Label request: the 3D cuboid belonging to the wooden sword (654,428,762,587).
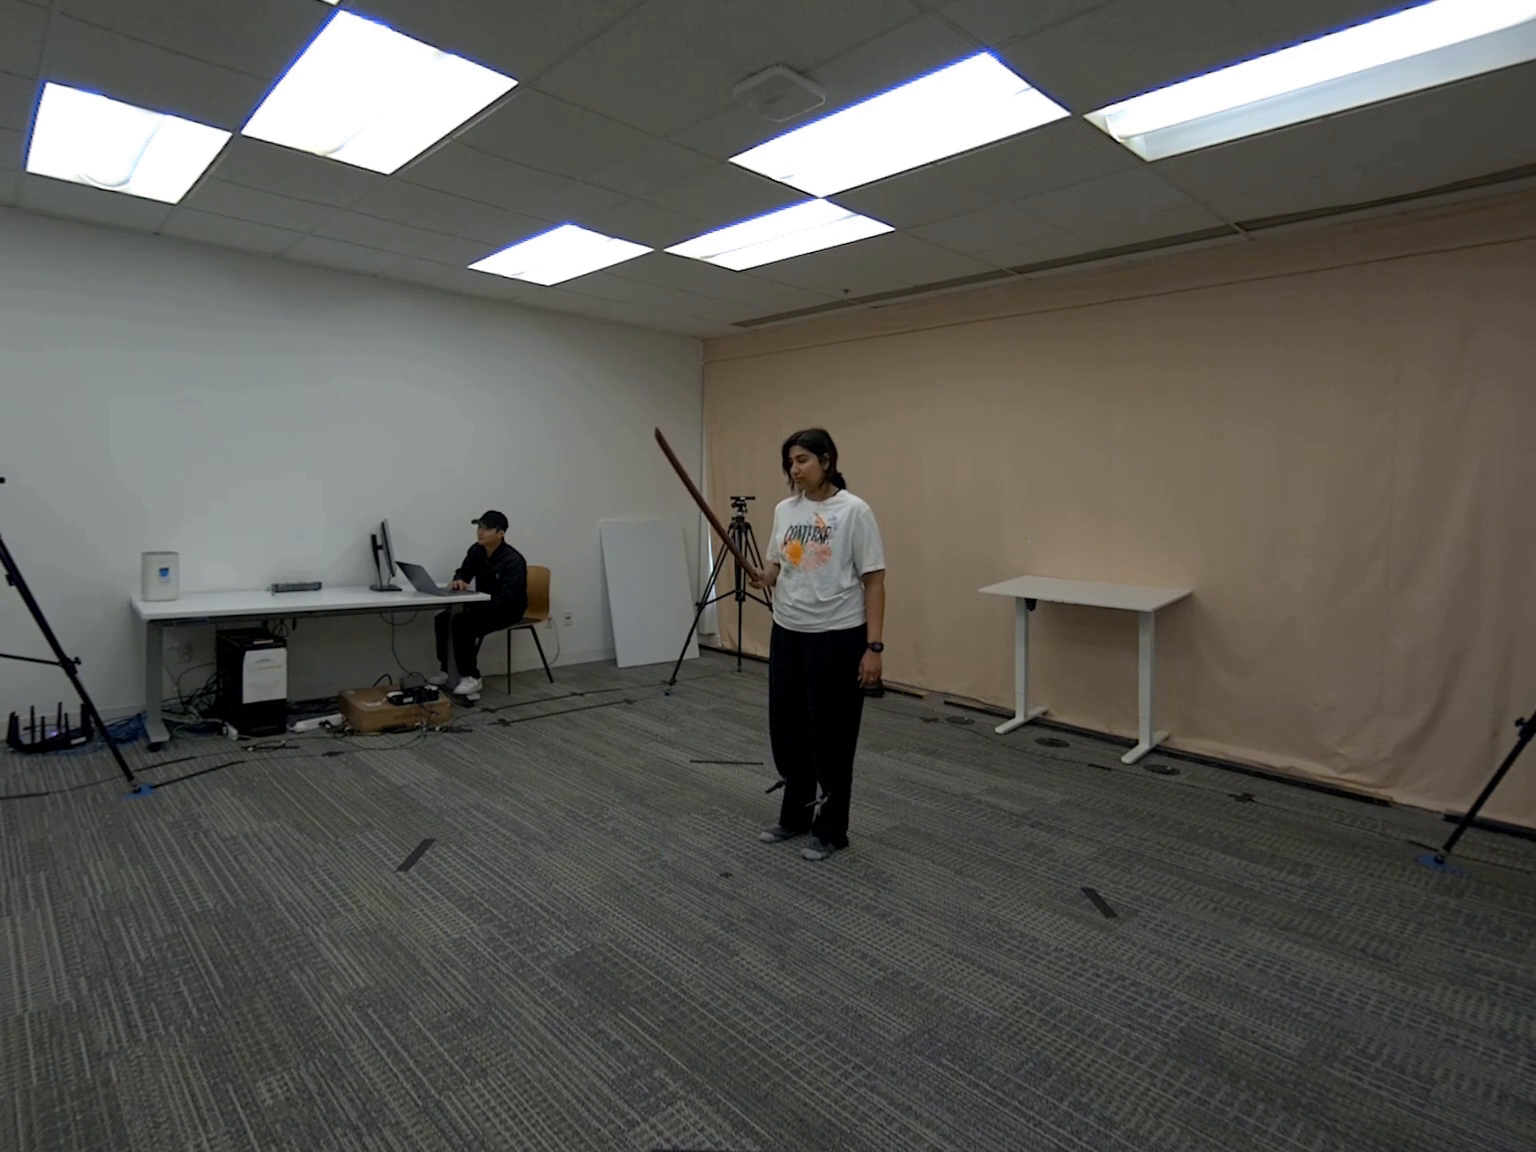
[{"bbox_3d":[-0.192,-0.193,2.923,0.024,0.052,0.994,-17,-35,12],"label":"wooden sword"}]
